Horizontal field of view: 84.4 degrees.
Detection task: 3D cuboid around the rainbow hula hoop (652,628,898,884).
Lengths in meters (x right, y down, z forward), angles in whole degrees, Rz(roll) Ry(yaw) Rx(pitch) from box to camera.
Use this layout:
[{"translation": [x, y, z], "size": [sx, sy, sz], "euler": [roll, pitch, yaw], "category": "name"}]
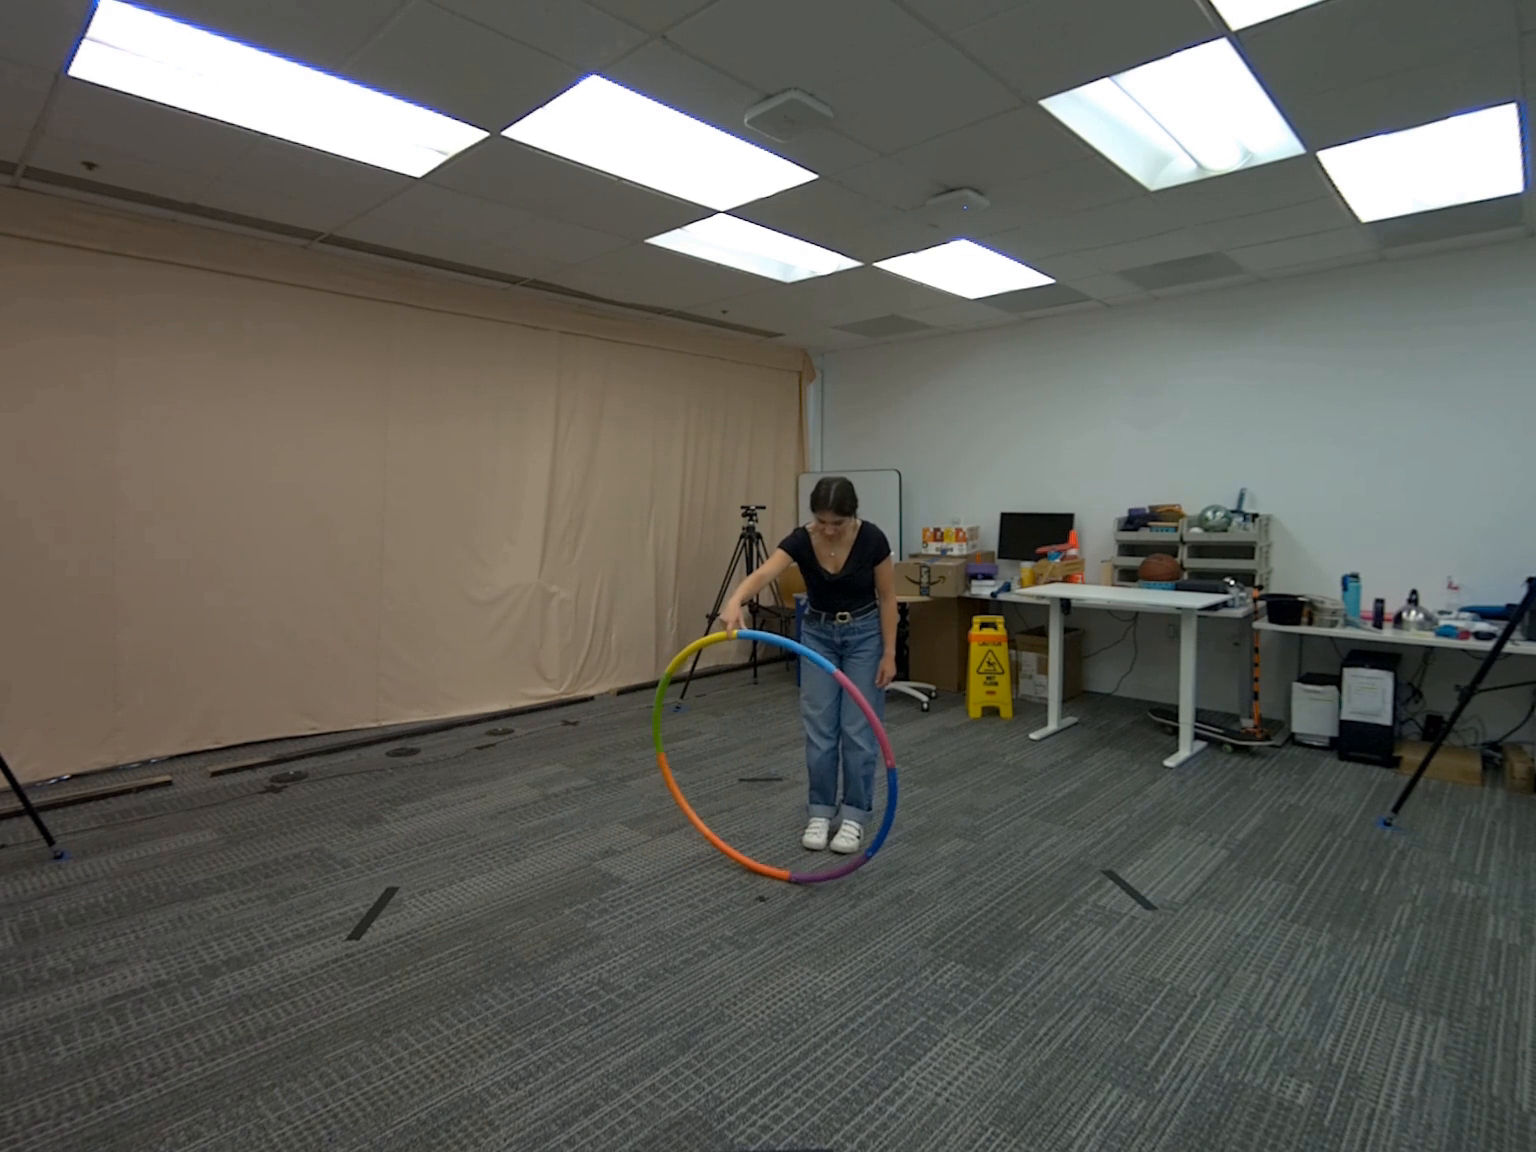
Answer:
[{"translation": [-0.004, 0.661, 3.042], "size": [1.007, 0.969, 0.035], "euler": [2, 15, 30], "category": "rainbow hula hoop"}]
